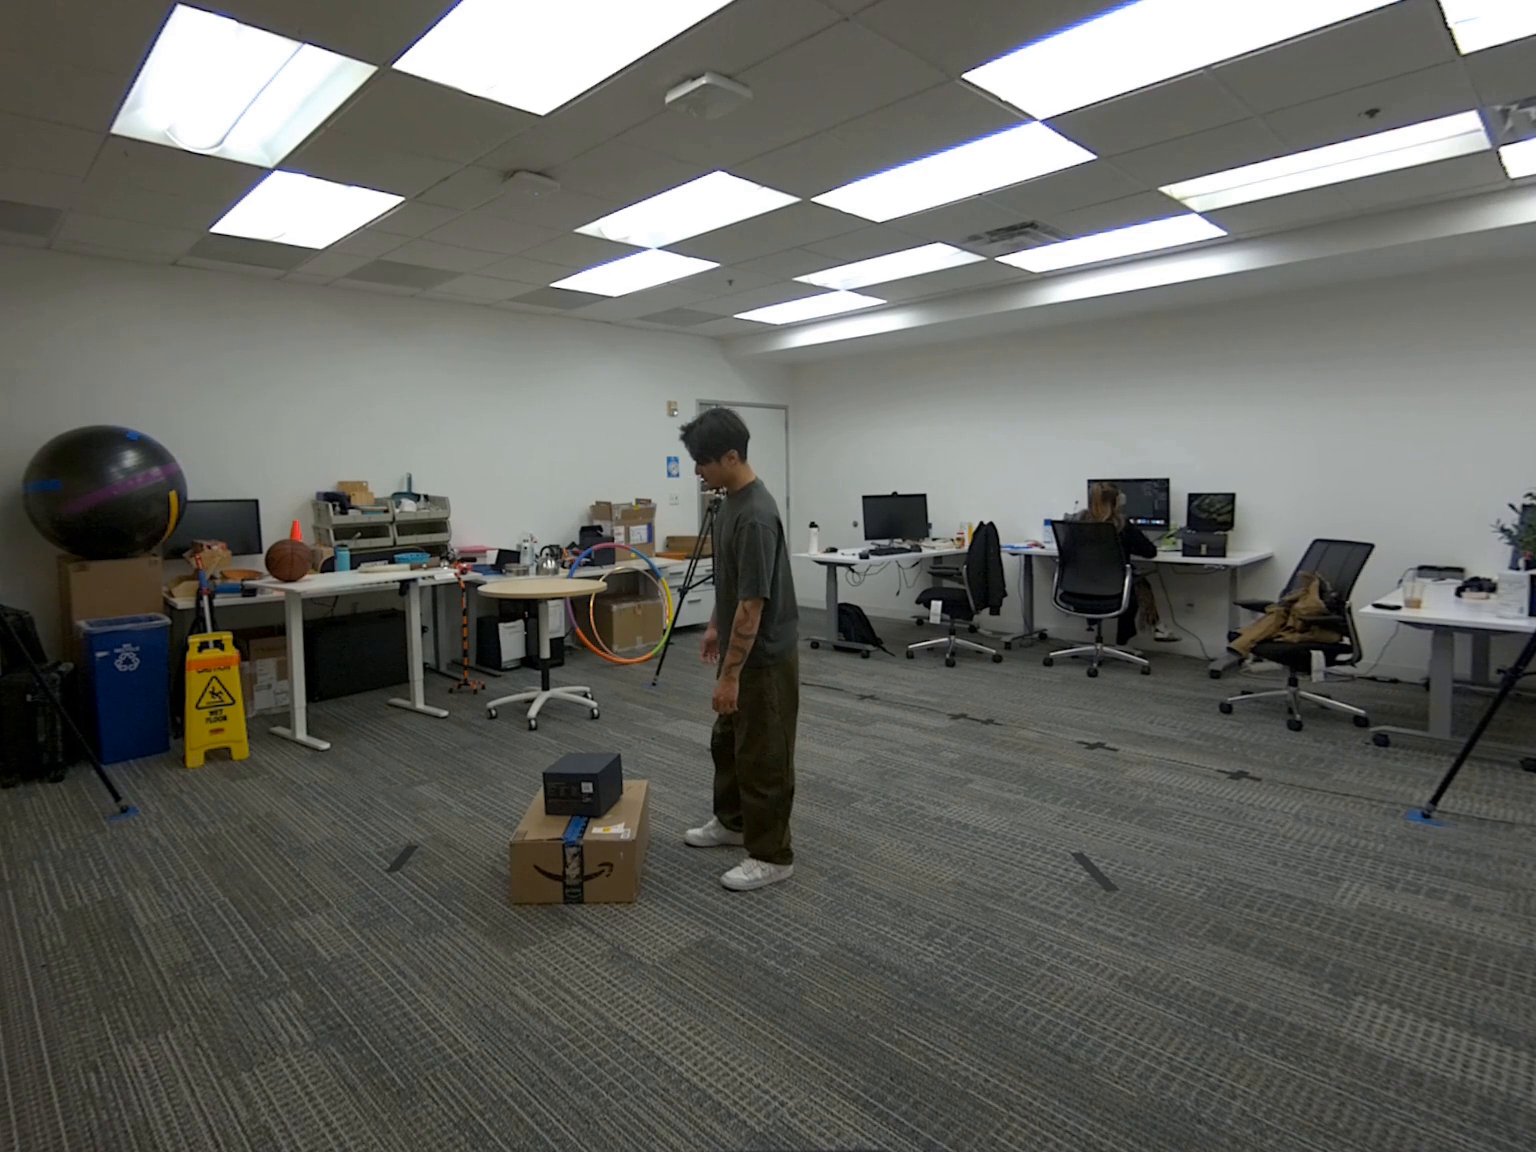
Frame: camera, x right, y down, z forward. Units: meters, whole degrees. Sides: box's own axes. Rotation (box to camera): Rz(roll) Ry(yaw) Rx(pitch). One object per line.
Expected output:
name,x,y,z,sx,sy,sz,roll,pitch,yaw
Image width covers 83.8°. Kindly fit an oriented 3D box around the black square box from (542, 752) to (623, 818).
black square box,-0.668,0.754,3.113,0.219,0.155,0.226,-3,5,12
